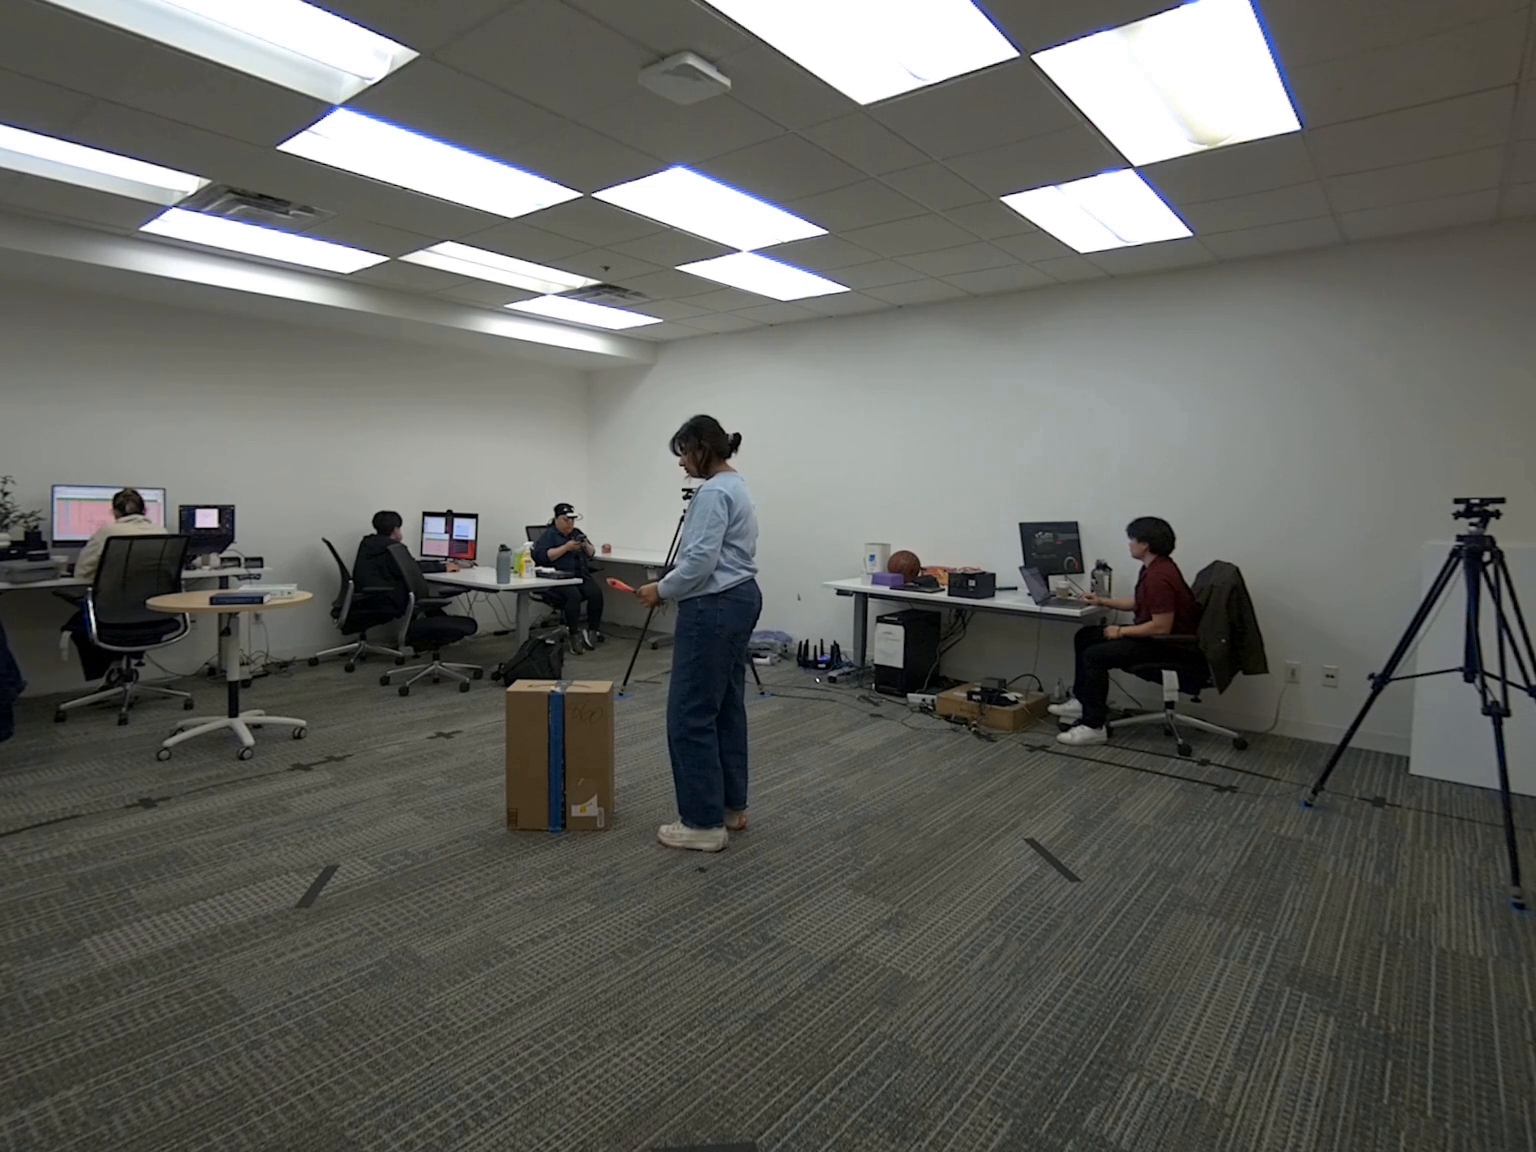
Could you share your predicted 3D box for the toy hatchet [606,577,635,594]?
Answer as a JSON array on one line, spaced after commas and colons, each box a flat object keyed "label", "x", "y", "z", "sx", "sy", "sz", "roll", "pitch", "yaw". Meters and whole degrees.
[{"label": "toy hatchet", "x": -0.527, "y": 0.069, "z": 3.436, "sx": 0.261, "sy": 0.029, "sz": 0.135, "roll": 25, "pitch": -5, "yaw": -27}]
